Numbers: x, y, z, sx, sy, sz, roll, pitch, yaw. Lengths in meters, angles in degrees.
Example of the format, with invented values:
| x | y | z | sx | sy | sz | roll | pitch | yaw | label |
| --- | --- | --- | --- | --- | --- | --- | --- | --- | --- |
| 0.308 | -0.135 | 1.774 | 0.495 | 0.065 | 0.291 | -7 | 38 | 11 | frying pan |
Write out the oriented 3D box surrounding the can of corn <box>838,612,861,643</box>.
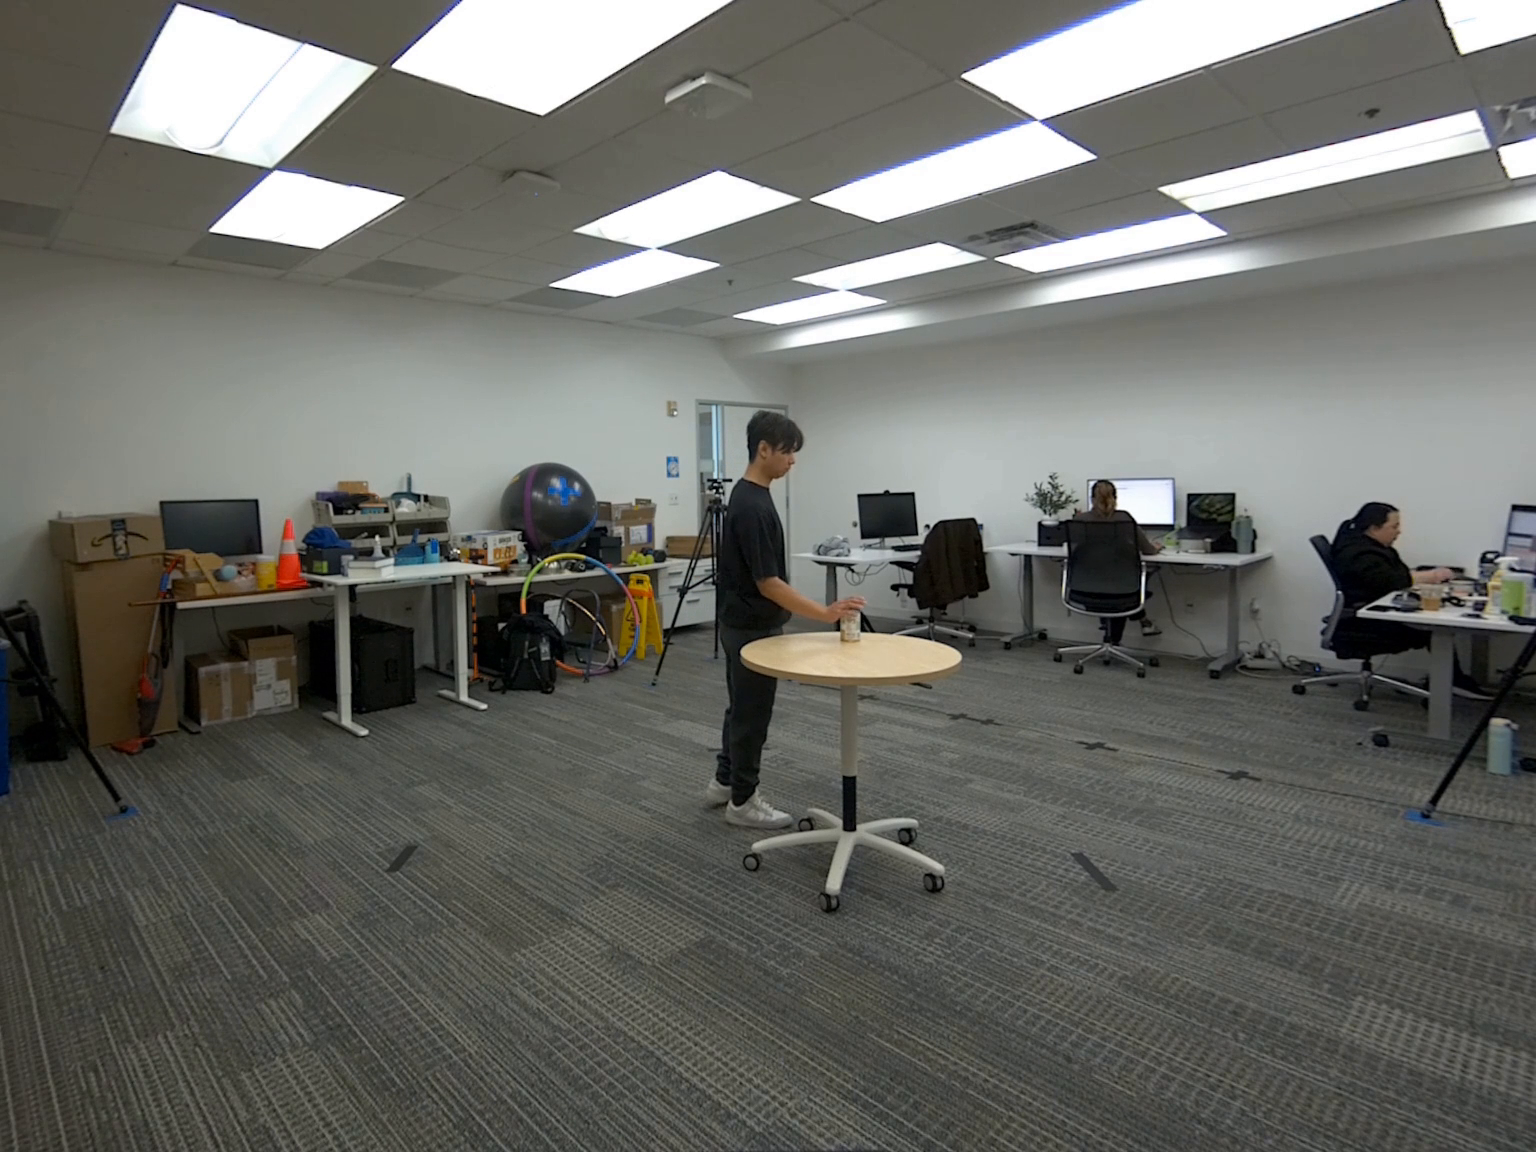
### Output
| x | y | z | sx | sy | sz | roll | pitch | yaw | label |
| --- | --- | --- | --- | --- | --- | --- | --- | --- | --- |
| 0.317 | 0.189 | 3.207 | 0.074 | 0.110 | 0.074 | -1 | 4 | -2 | can of corn |
